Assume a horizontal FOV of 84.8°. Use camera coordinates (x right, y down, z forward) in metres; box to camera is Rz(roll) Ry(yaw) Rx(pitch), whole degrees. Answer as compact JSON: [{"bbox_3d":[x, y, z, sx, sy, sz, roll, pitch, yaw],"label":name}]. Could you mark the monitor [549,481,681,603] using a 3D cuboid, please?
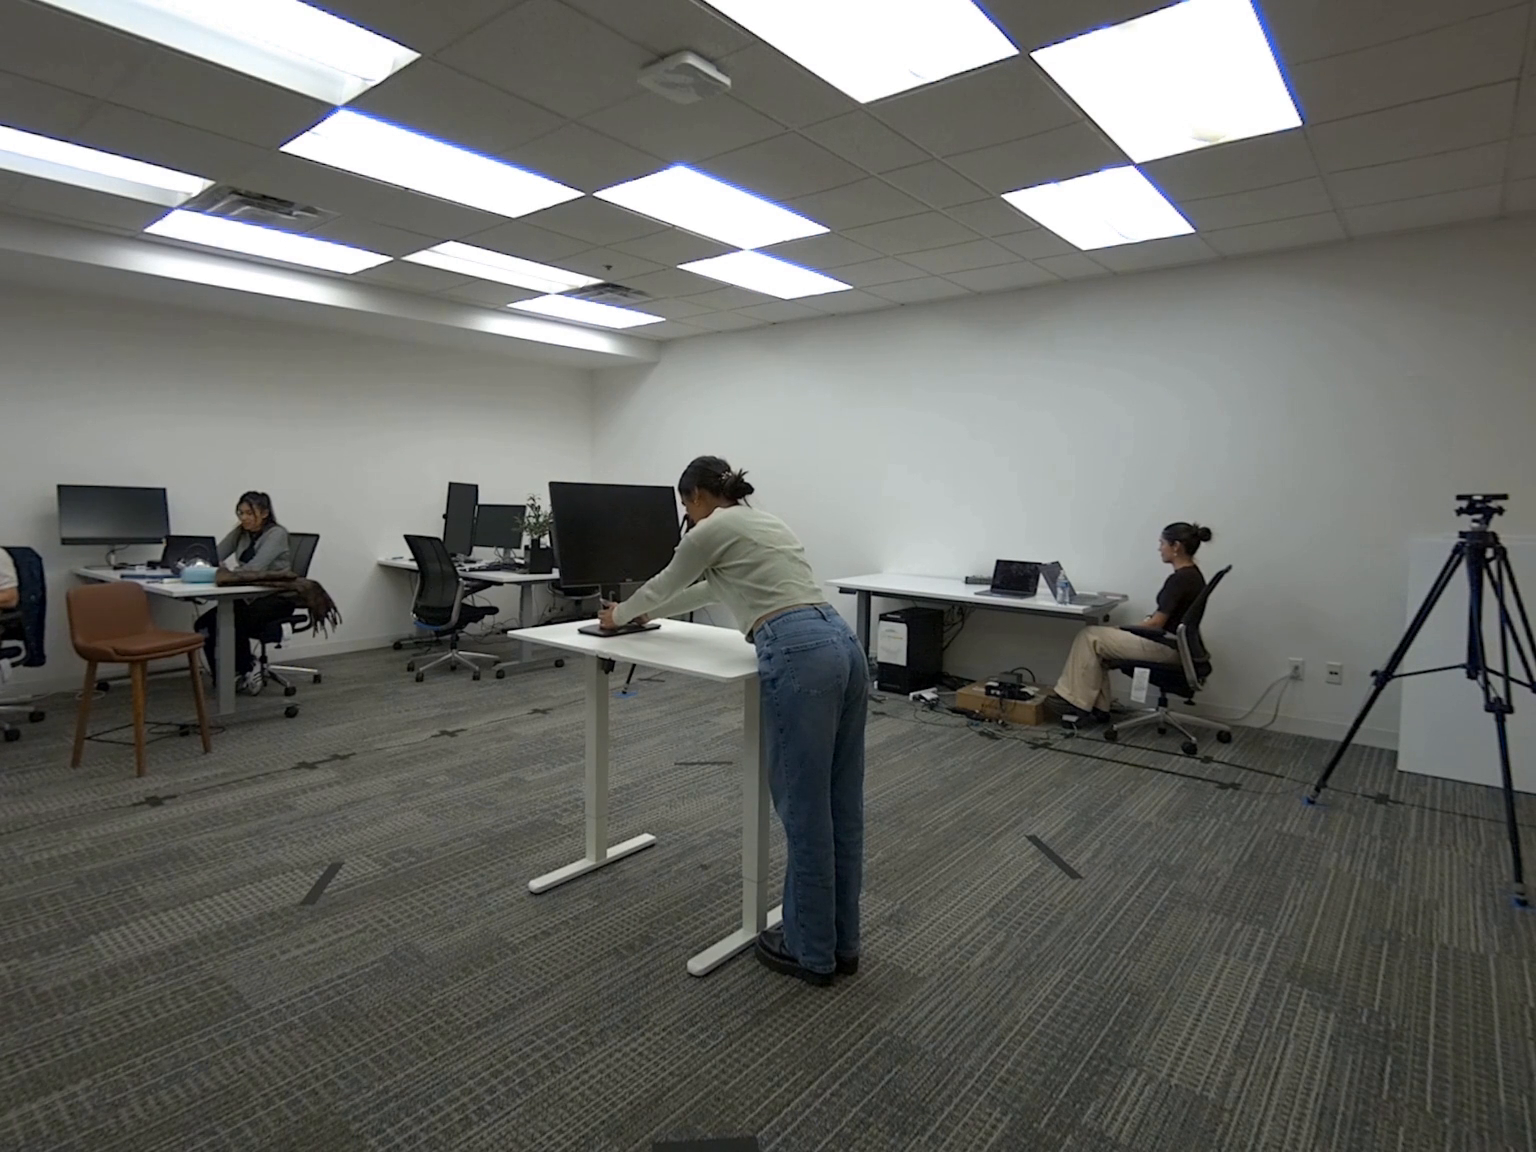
[{"bbox_3d":[-0.548,-0.066,2.988,0.193,0.522,0.522,2,3,44],"label":"monitor"}]
